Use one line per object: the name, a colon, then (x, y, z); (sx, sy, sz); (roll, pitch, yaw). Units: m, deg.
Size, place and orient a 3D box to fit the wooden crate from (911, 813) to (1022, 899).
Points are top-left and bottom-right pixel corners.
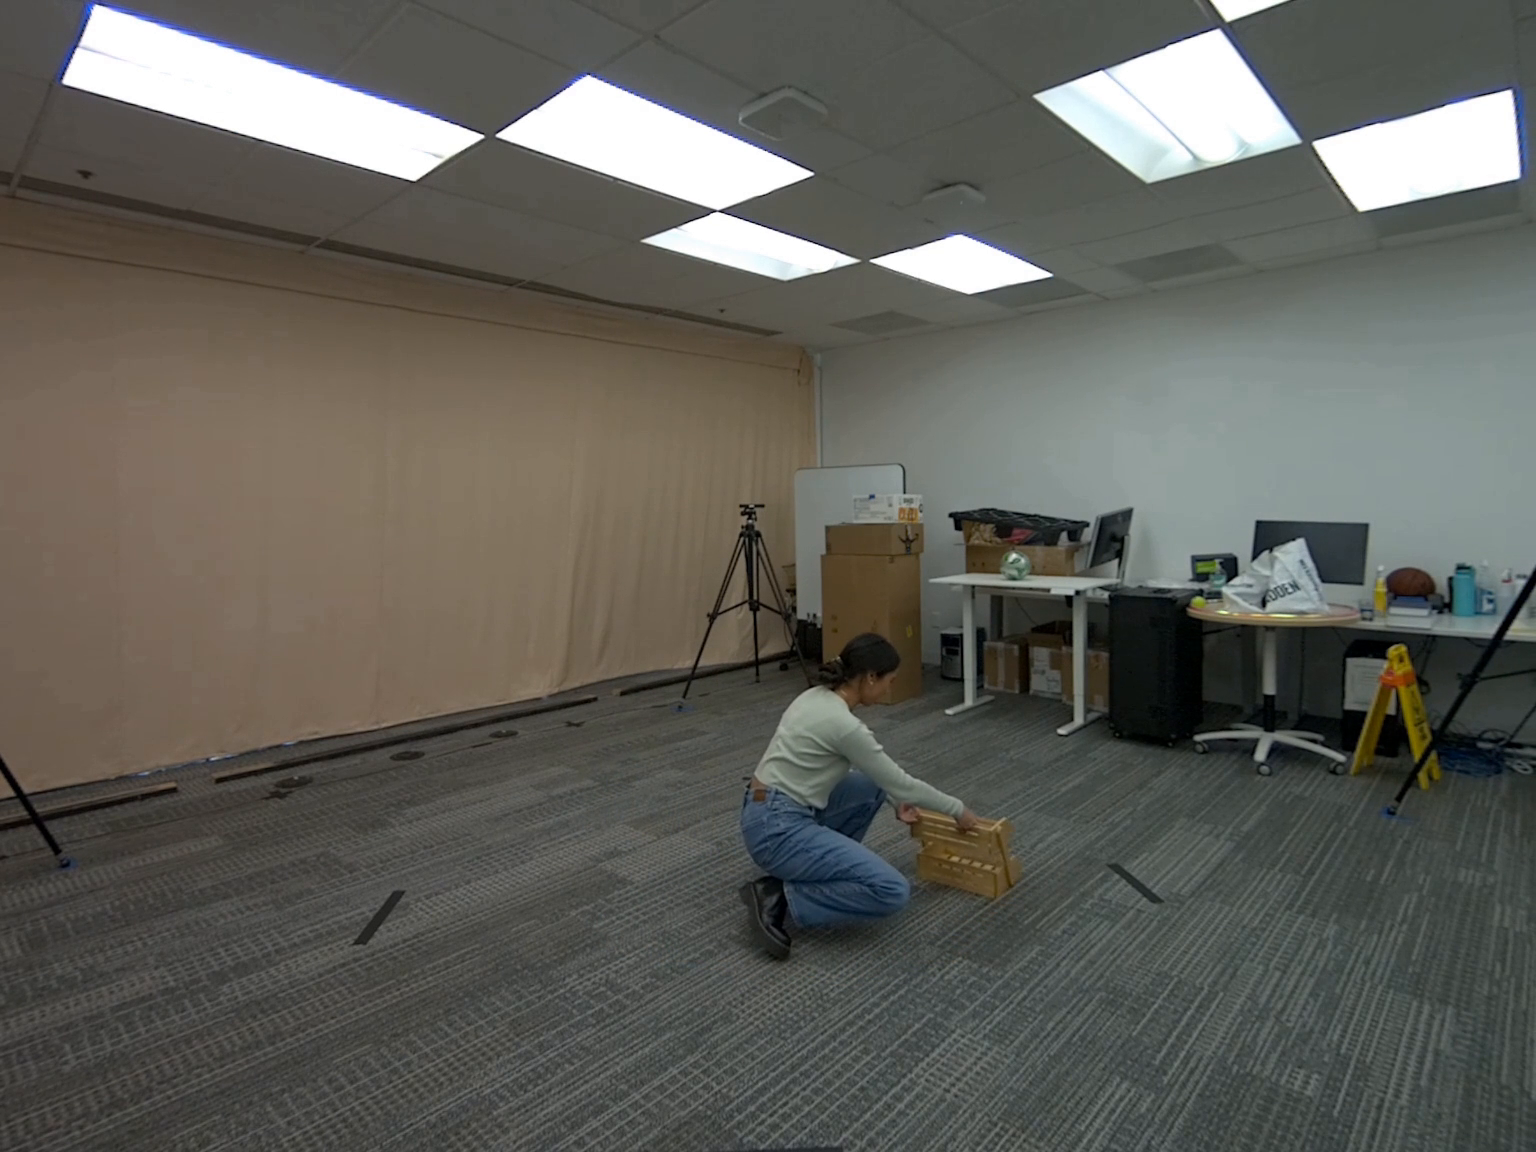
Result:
wooden crate: (0.732, 0.988, 3.108); (0.335, 0.273, 0.293); (3, 5, 36)
